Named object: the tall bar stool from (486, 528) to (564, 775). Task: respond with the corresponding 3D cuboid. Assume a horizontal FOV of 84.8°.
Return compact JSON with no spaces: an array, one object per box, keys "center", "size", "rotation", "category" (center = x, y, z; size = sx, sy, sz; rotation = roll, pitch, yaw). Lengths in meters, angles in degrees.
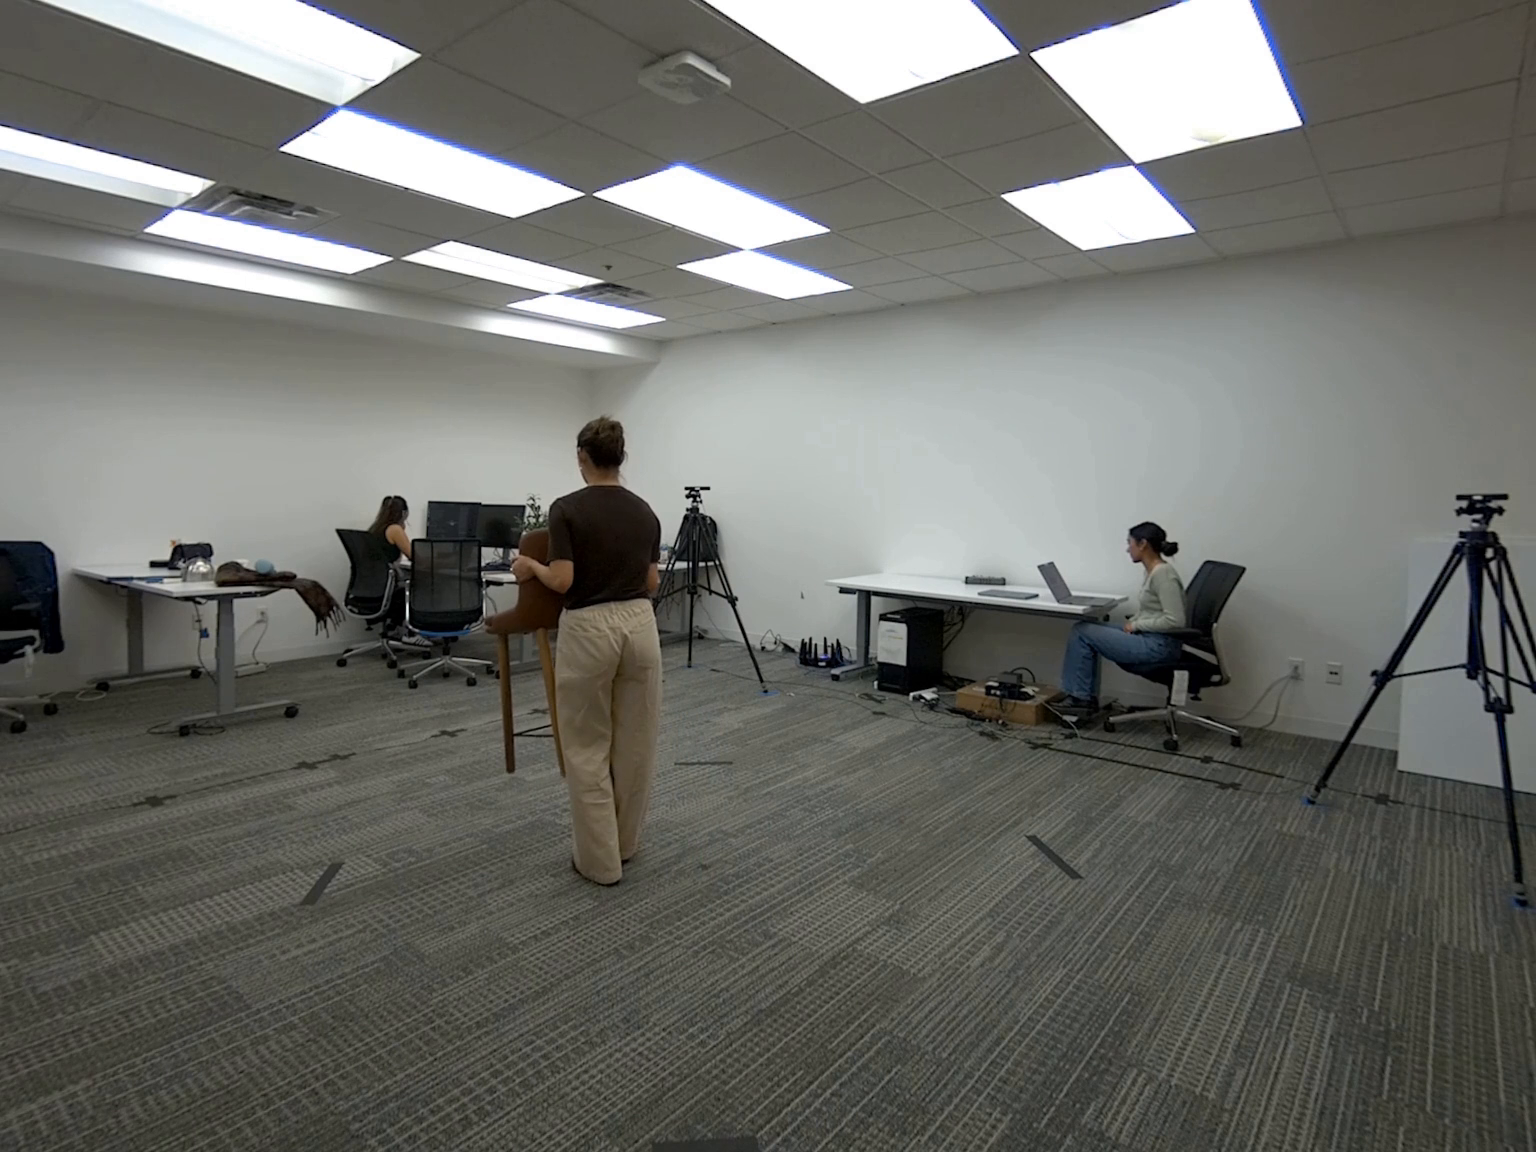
[{"center":[-0.810,0.280,3.277],"size":[0.444,0.893,0.479],"rotation":[-7,-3,-40],"category":"tall bar stool"}]
